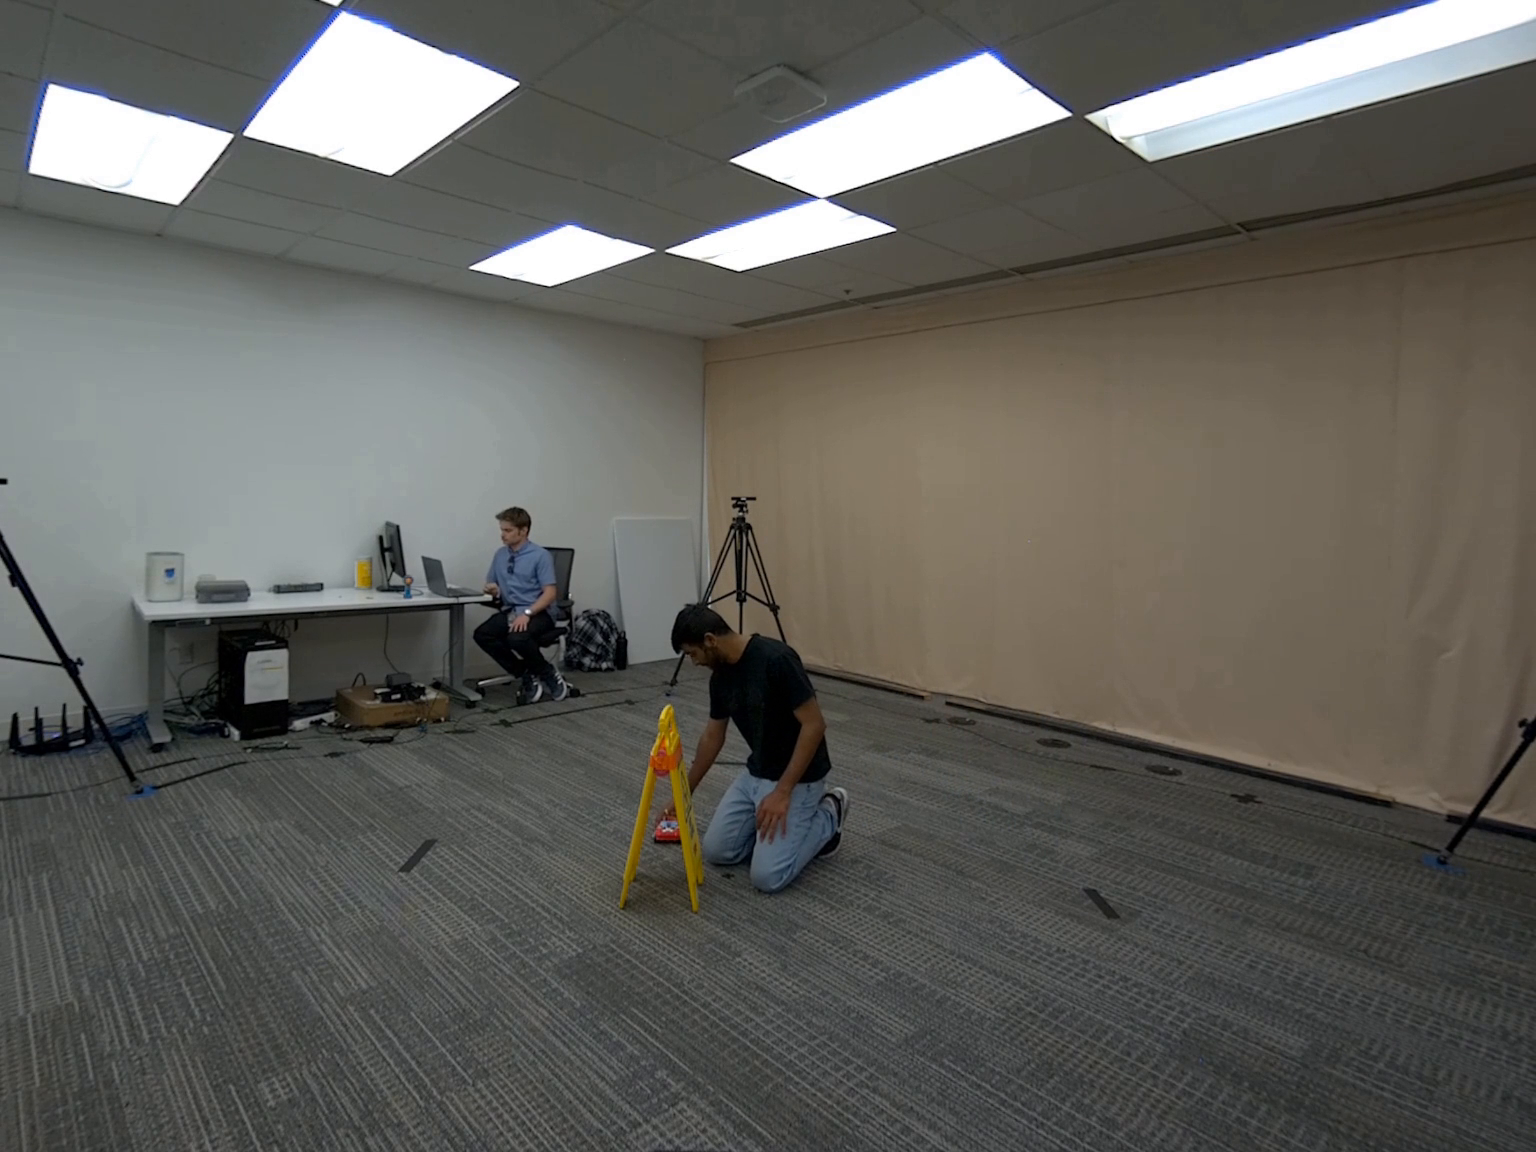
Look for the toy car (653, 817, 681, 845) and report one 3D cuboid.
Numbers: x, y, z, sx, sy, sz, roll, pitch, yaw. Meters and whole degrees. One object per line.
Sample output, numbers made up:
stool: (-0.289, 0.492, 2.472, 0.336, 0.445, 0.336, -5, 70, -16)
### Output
toy car: (-0.408, 1.027, 3.491, 0.130, 0.082, 0.258, 0, 19, -4)
